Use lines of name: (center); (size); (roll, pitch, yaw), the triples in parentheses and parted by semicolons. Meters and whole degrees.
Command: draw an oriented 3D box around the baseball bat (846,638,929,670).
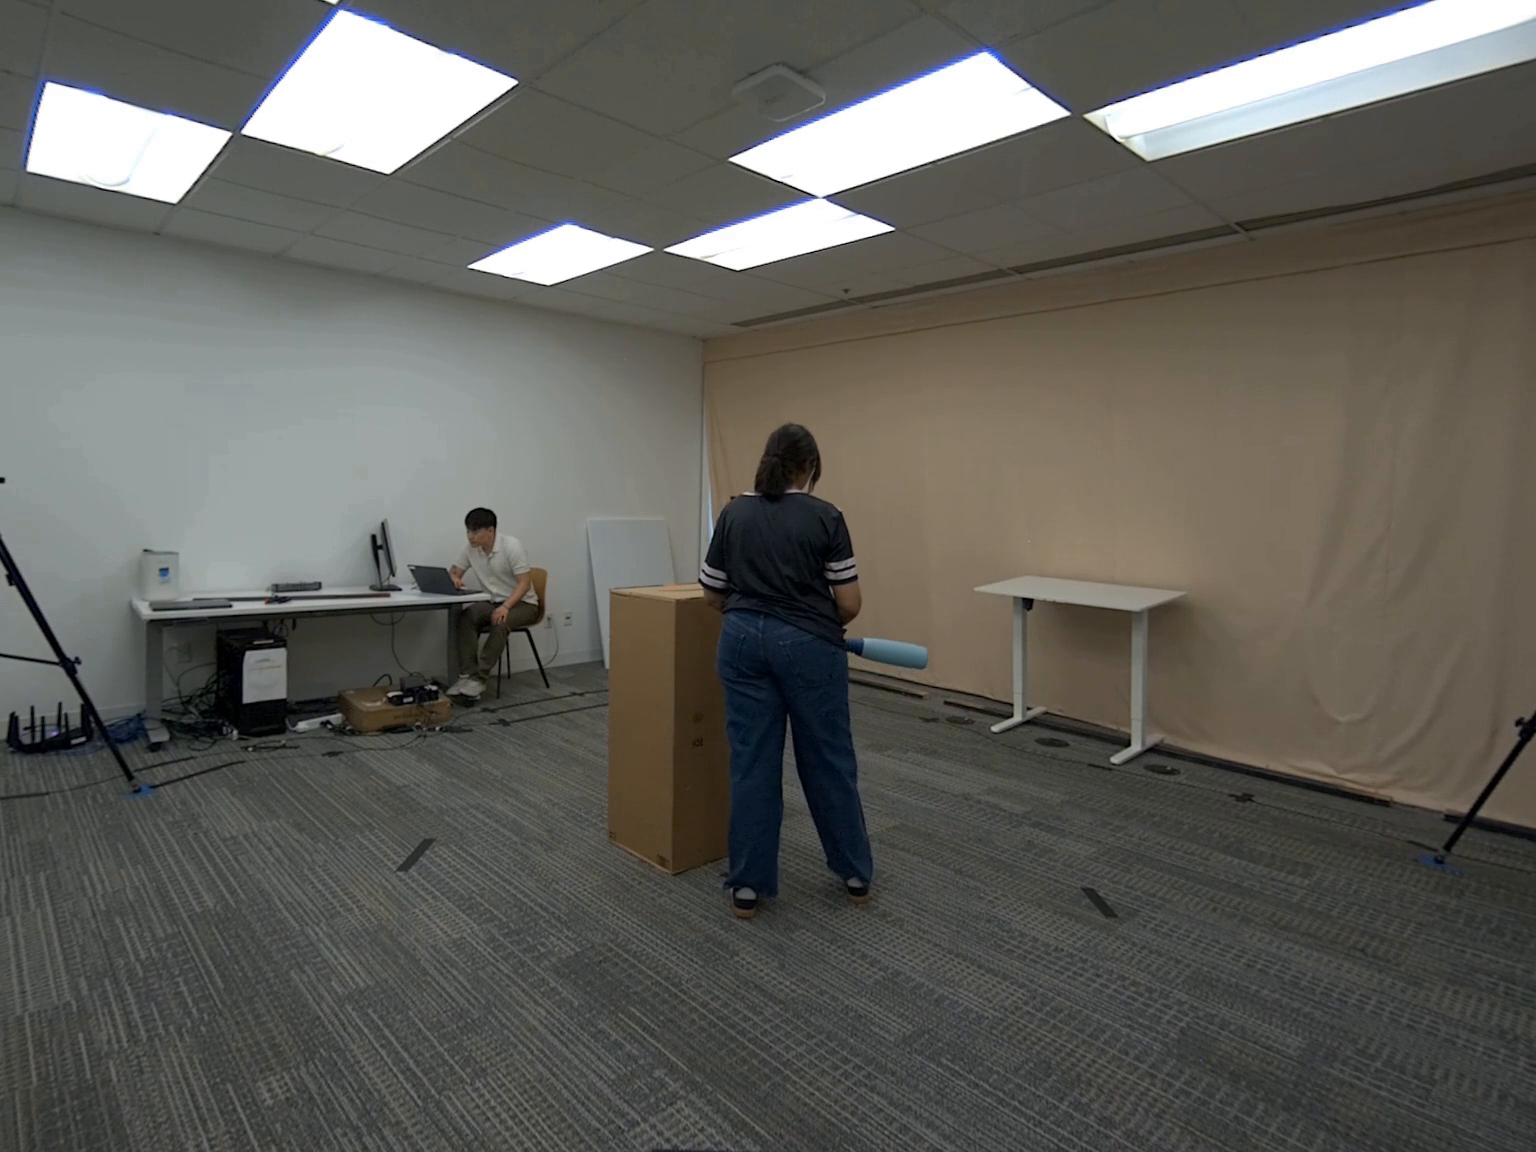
baseball bat: (0.324, 0.256, 3.107); (0.541, 0.089, 0.089); (10, 3, -4)
